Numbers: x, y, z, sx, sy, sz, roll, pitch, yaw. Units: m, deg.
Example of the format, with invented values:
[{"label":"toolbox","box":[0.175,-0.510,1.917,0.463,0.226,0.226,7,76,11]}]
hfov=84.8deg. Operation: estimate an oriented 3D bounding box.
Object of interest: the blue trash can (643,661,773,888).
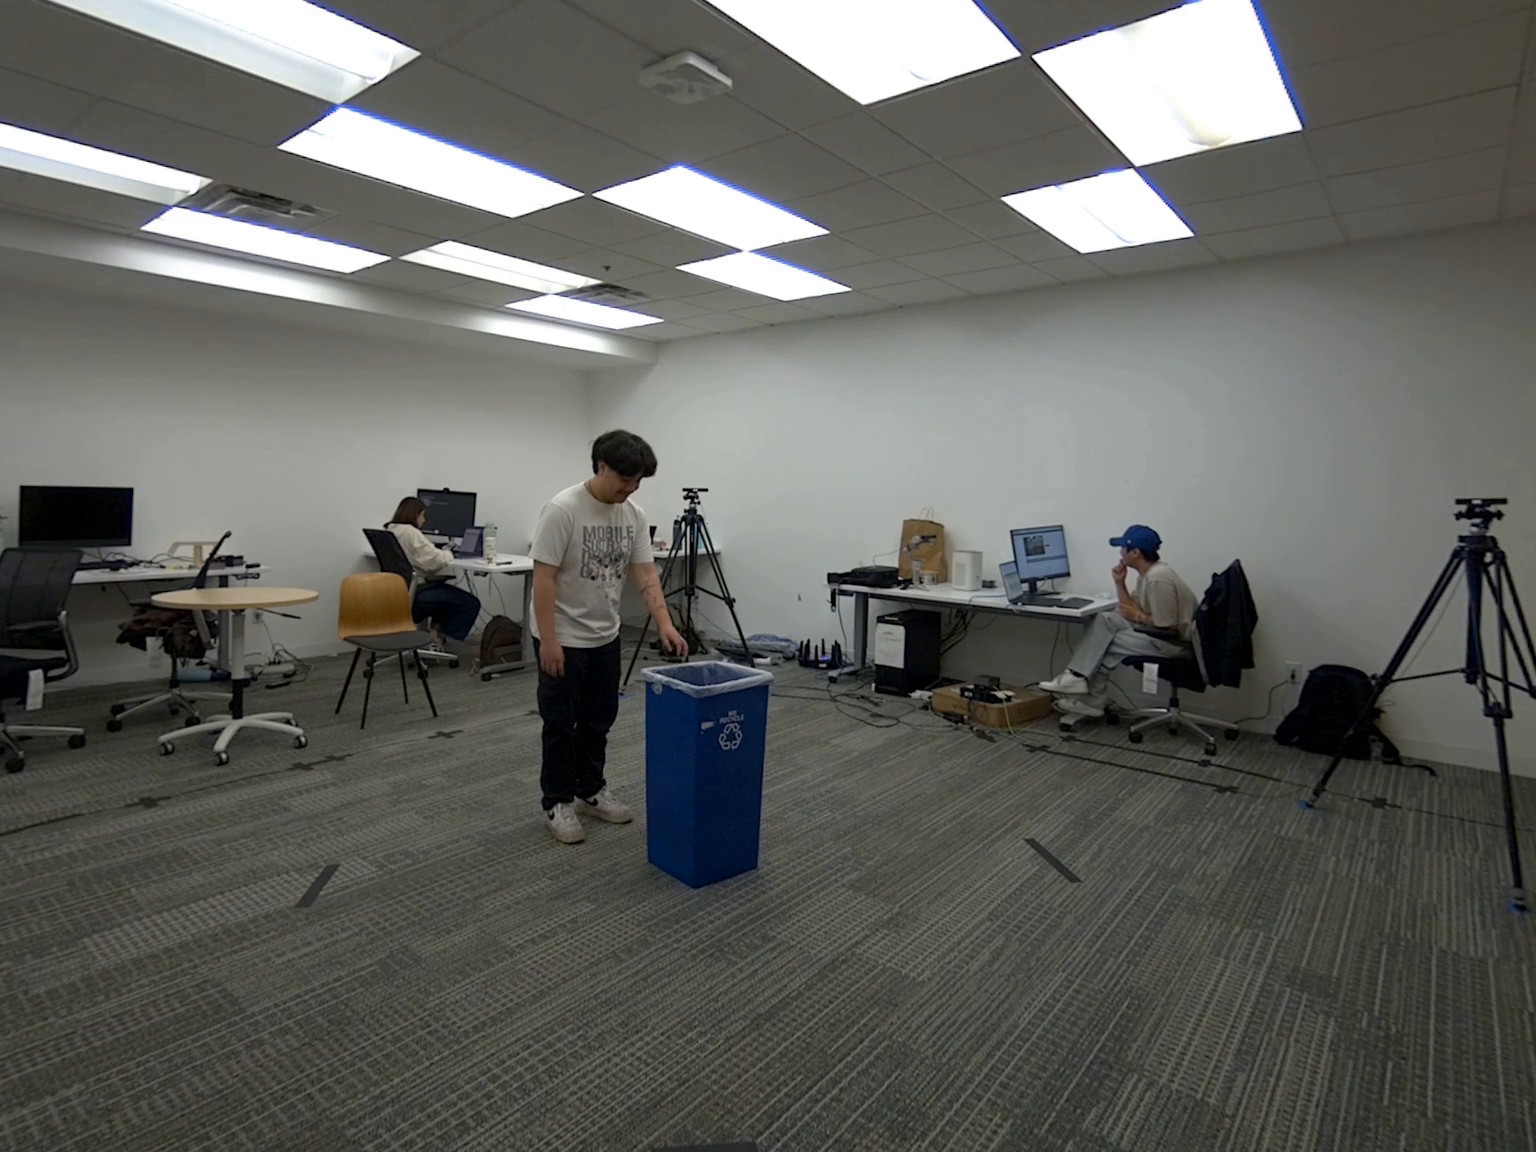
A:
[{"label":"blue trash can","box":[-0.239,0.706,3.145,0.363,0.711,0.391,-2,4,-41]}]
